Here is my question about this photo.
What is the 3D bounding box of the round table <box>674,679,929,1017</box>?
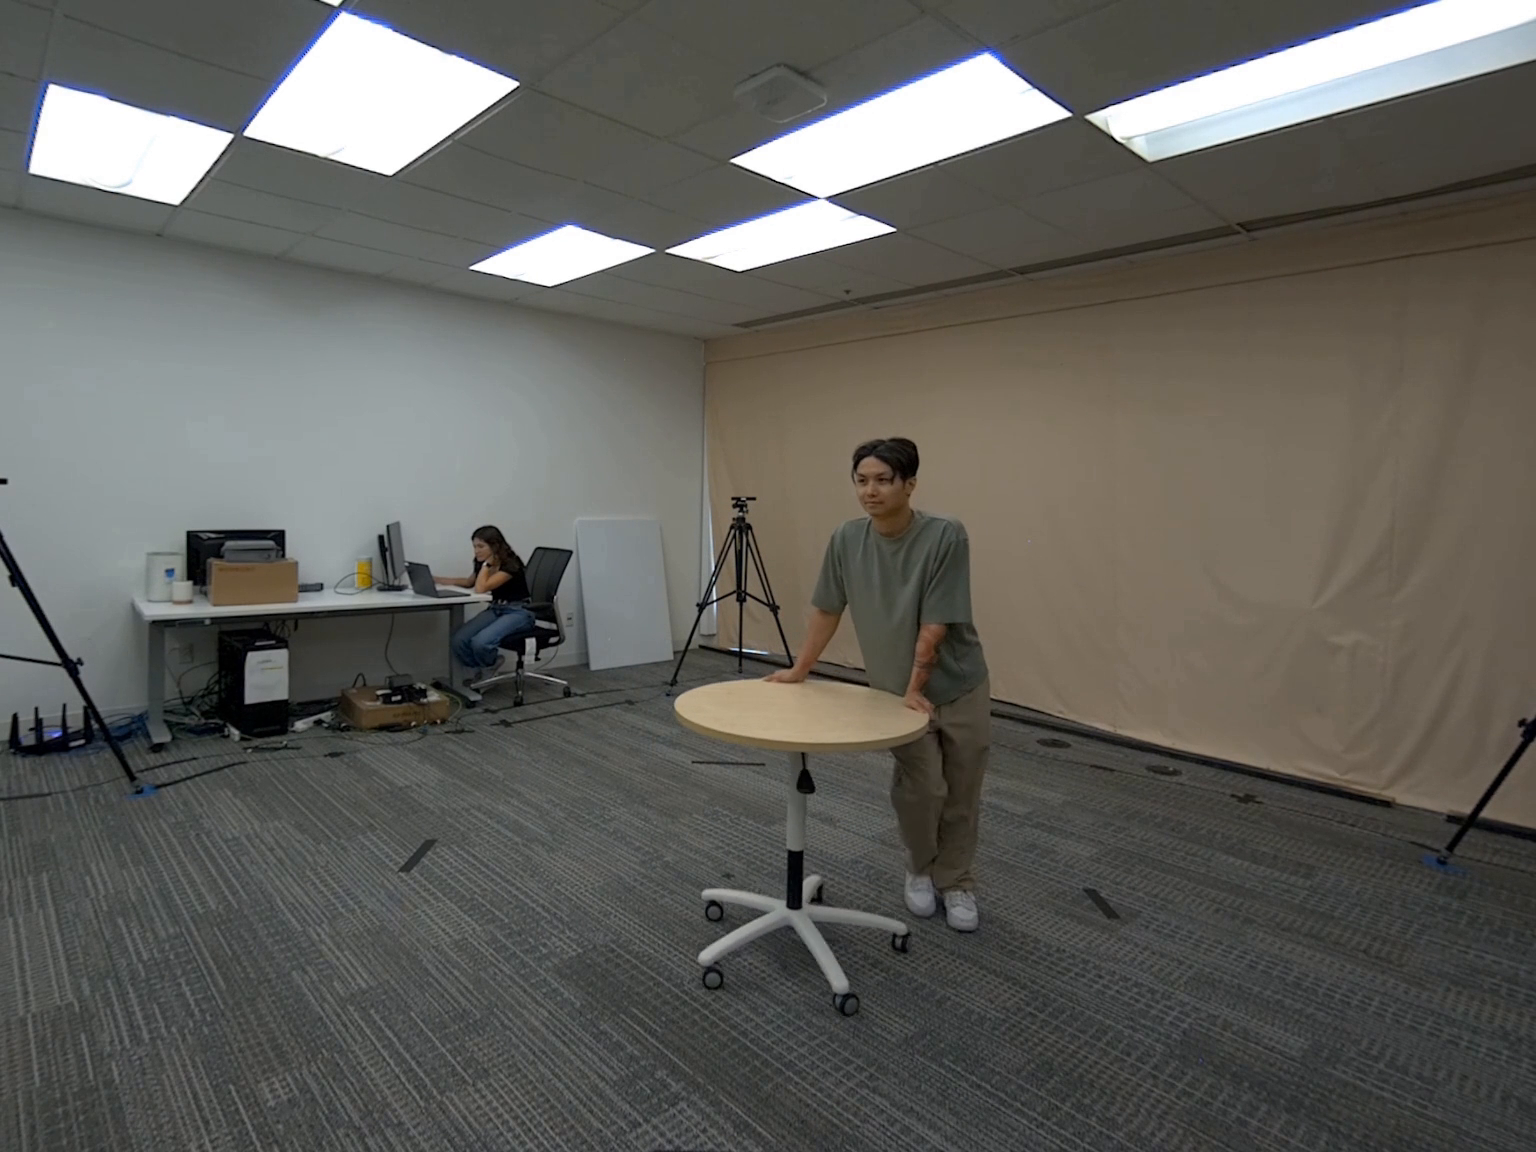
[{"bbox_3d":[0.074,0.774,2.595,0.784,0.784,0.788,2,4,-1],"label":"round table"}]
